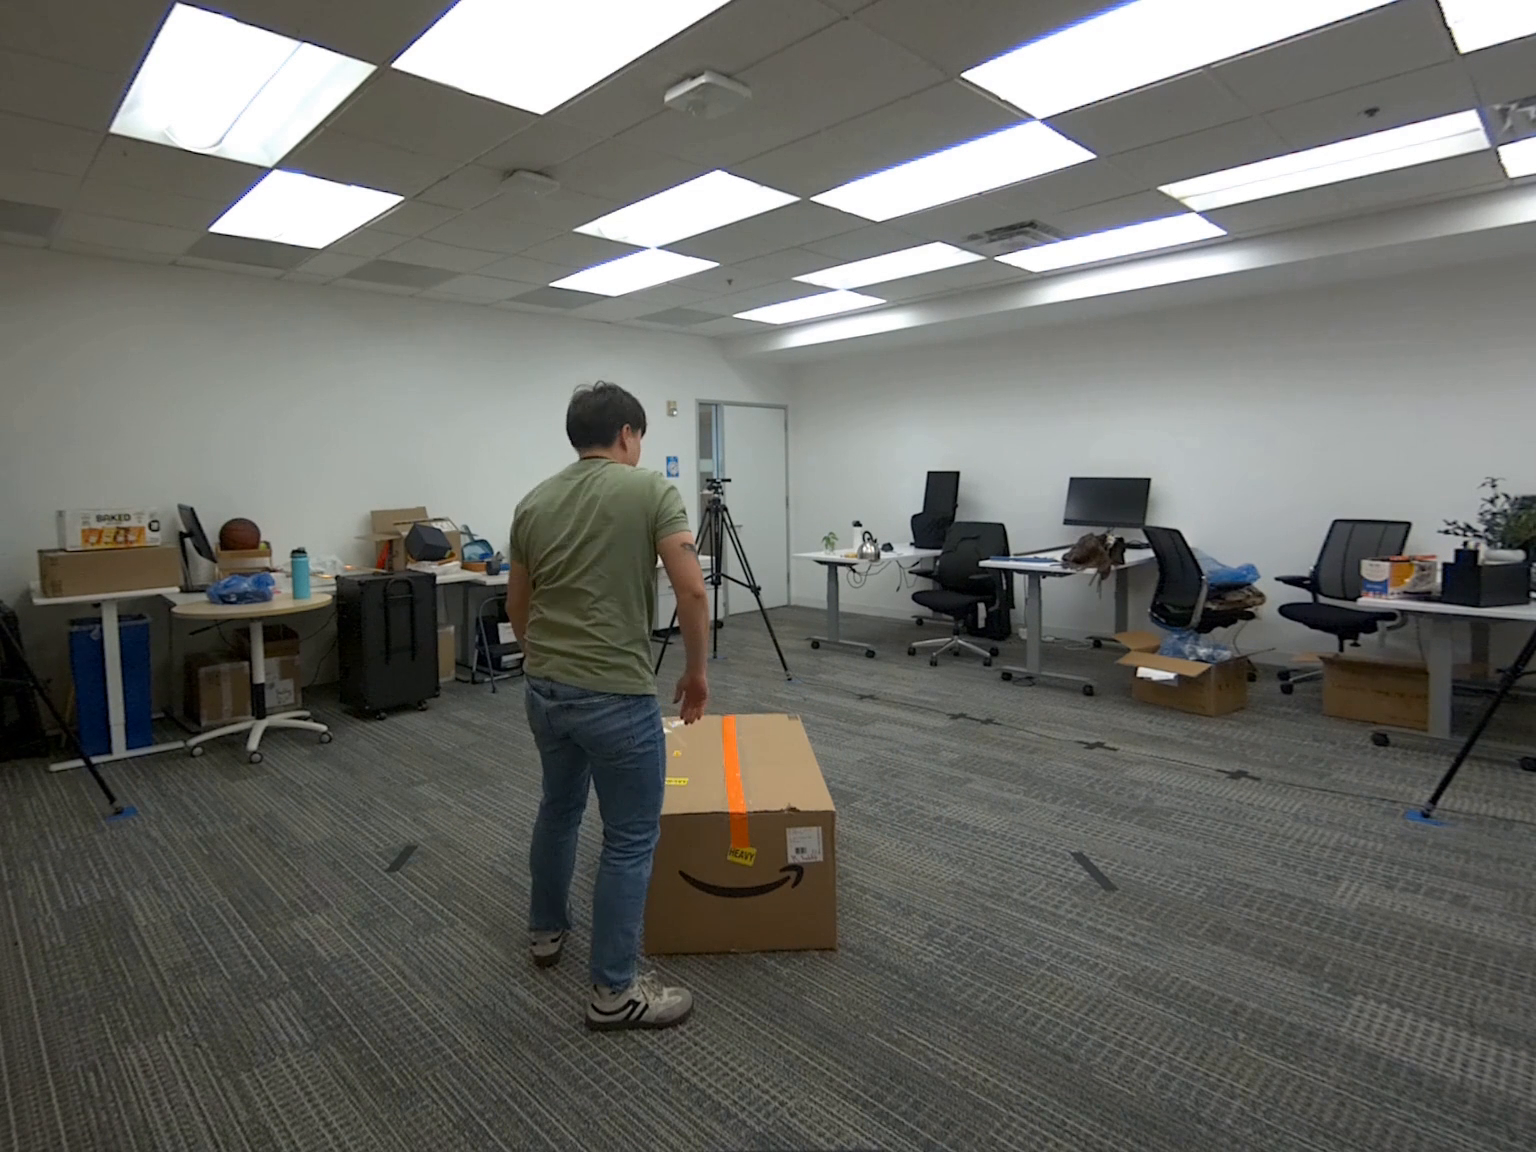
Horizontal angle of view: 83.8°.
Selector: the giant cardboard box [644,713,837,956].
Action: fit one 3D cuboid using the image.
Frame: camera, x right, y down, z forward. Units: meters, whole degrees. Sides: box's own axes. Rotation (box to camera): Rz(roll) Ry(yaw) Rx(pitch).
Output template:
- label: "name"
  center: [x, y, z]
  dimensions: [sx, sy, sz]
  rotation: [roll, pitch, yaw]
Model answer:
- label: "giant cardboard box"
  center: [-0.114, 0.840, 3.019]
  dimensions: [0.576, 0.424, 1.034]
  rotation: [-2, 7, -4]
